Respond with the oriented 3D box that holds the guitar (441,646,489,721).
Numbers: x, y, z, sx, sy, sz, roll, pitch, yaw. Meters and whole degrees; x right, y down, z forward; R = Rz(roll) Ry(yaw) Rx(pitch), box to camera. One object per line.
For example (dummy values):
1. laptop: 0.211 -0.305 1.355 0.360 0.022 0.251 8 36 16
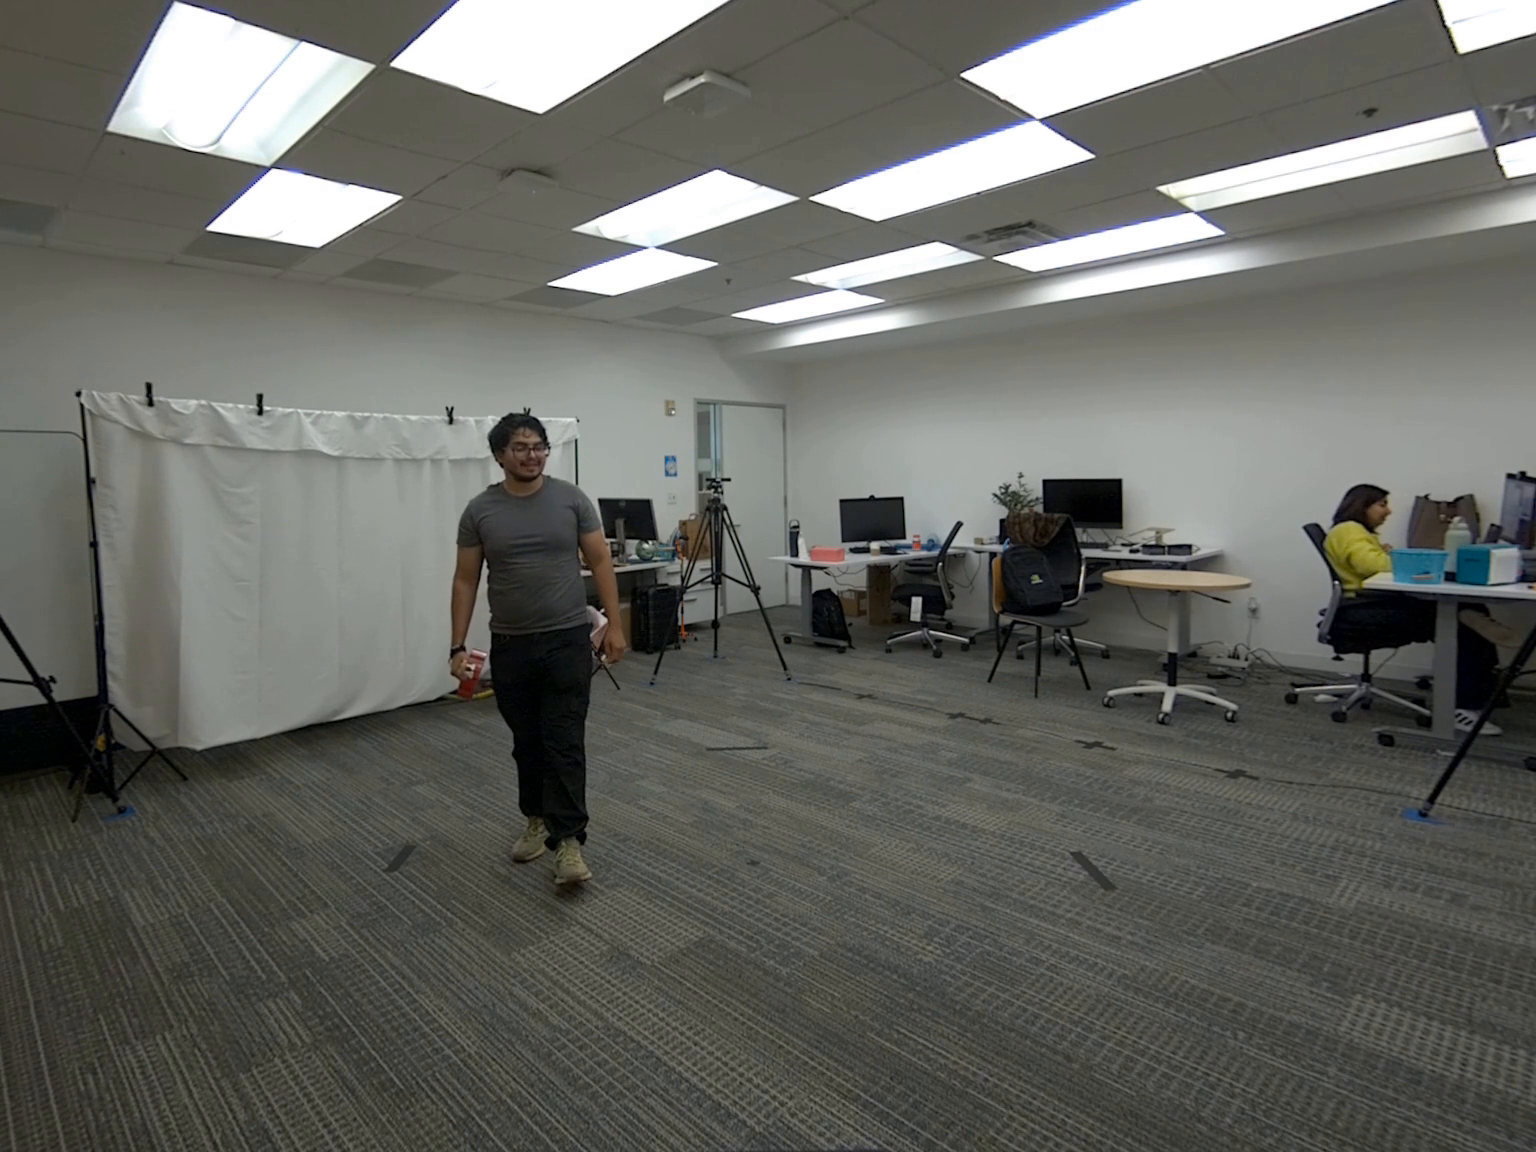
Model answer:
1. guitar: -1.094 0.378 3.109 0.069 0.193 0.503 17 -5 -14
